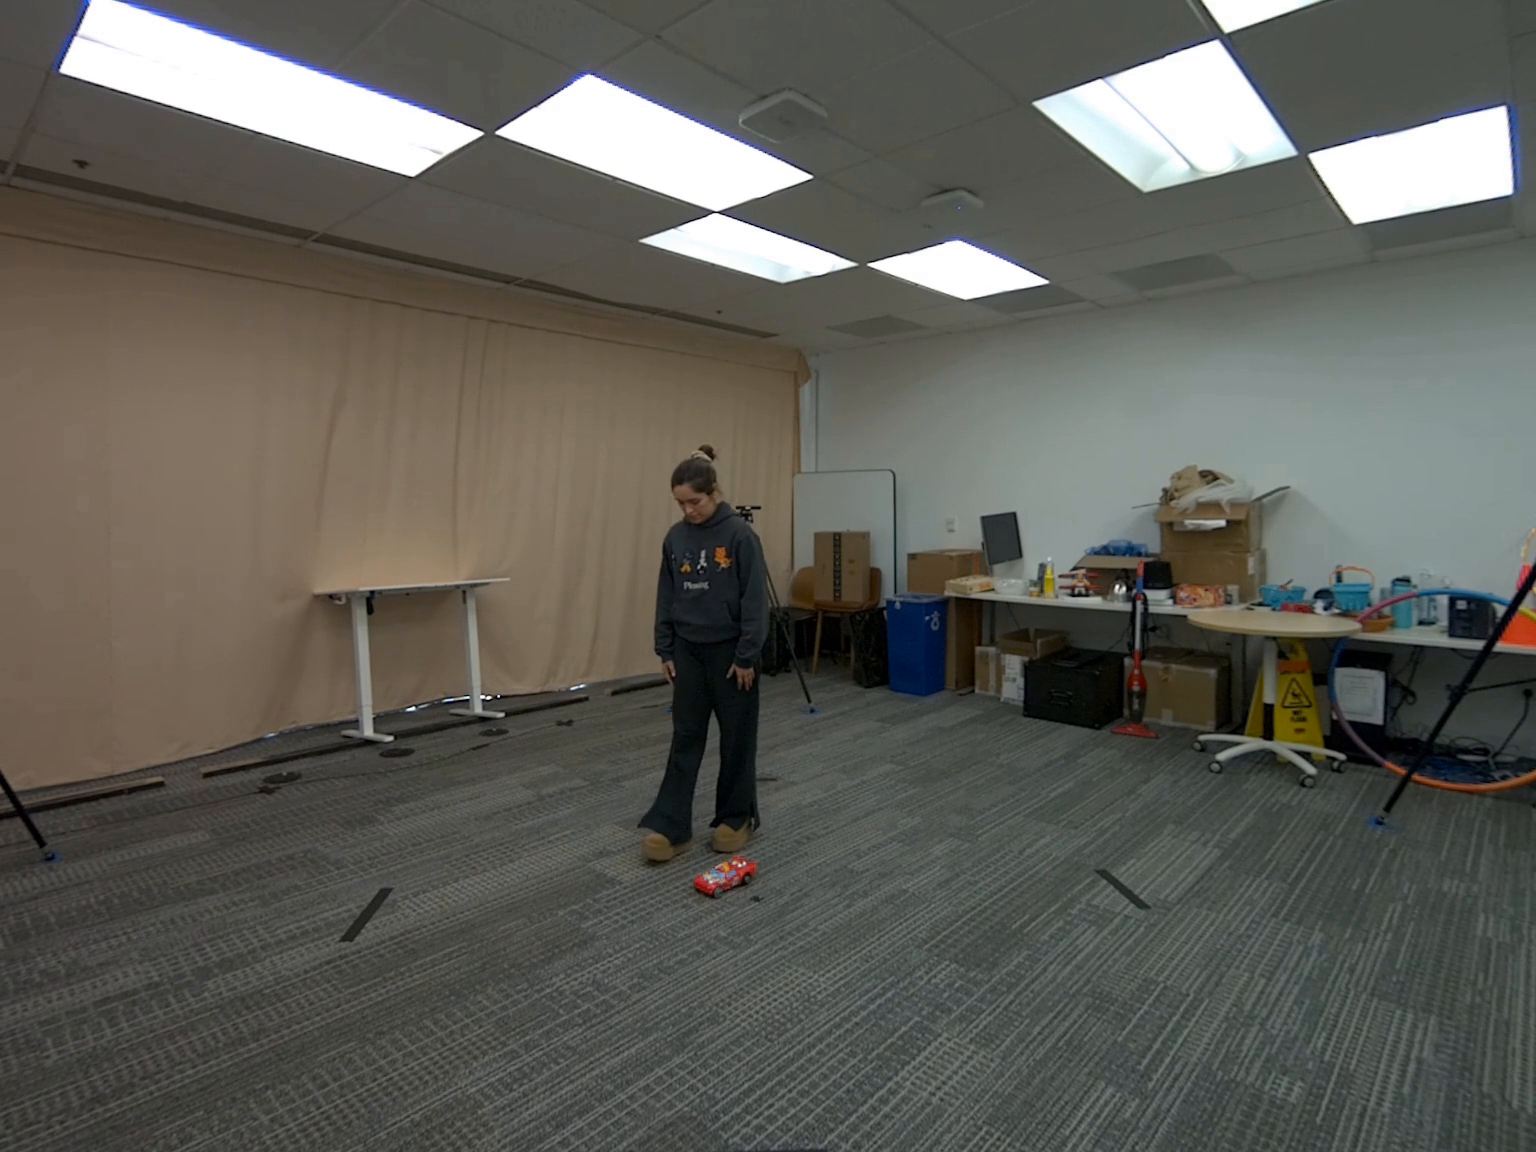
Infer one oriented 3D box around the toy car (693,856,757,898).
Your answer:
[{"bbox_3d":[-0.137,1.097,3.091,0.134,0.082,0.248,3,17,45],"label":"toy car"}]
